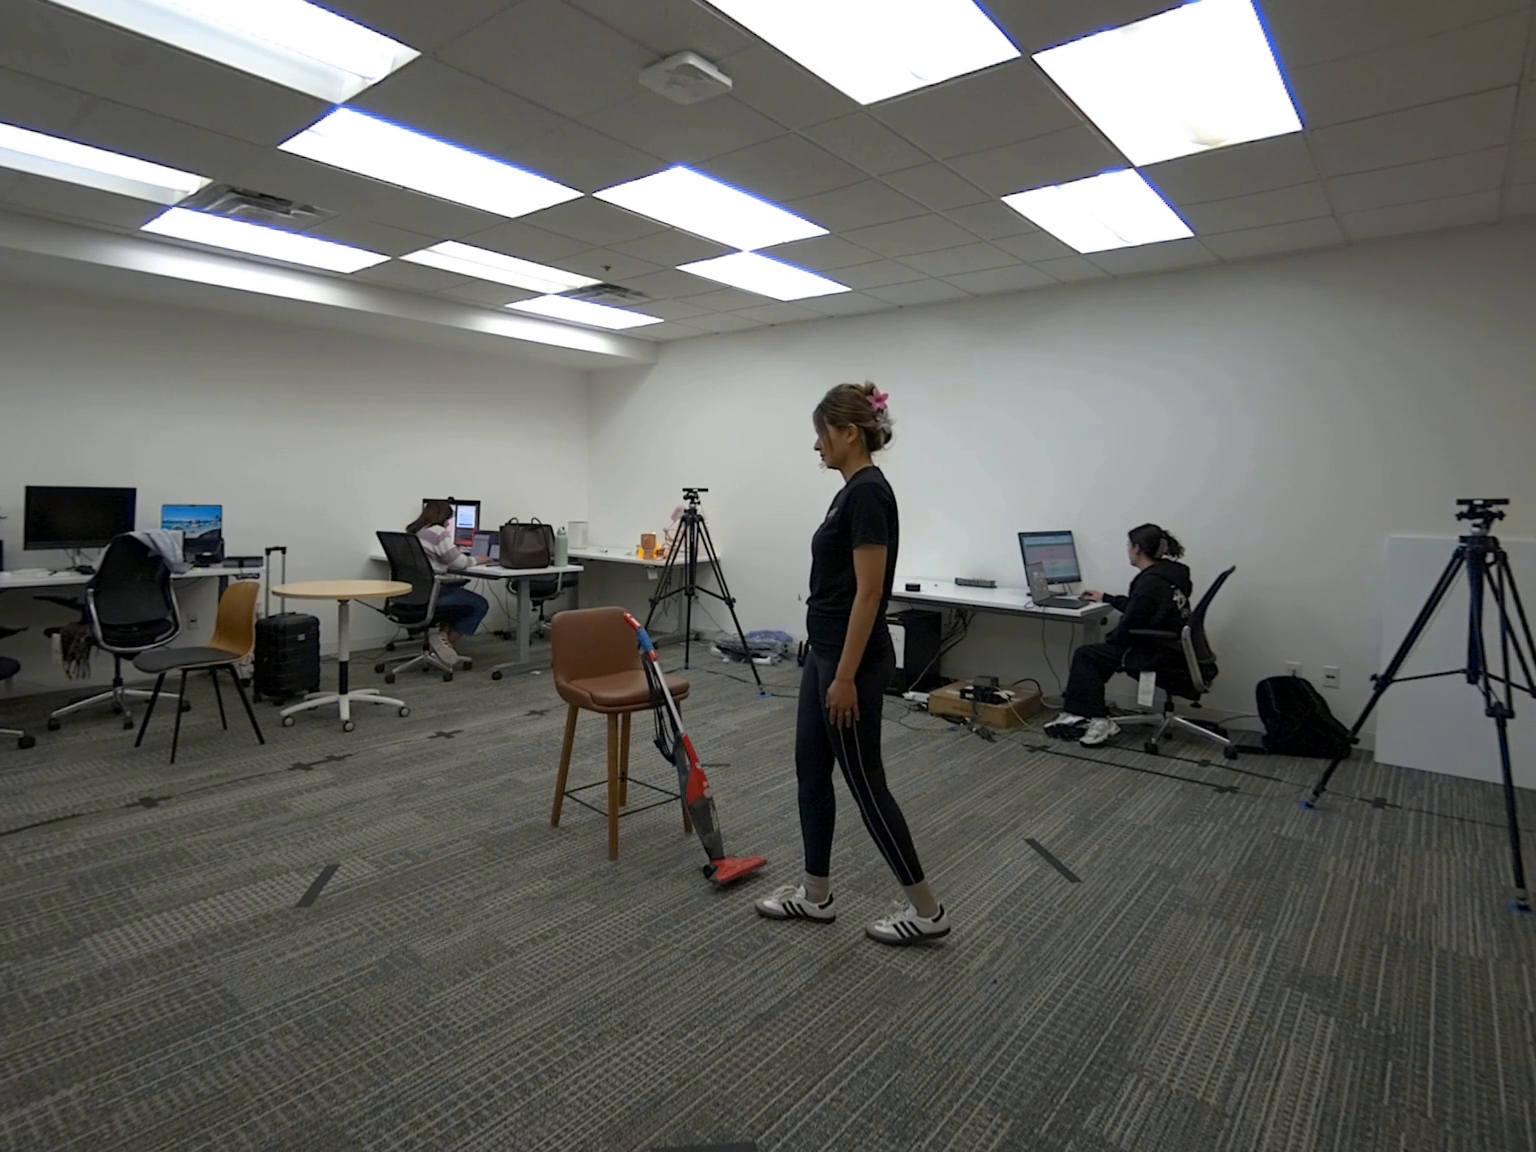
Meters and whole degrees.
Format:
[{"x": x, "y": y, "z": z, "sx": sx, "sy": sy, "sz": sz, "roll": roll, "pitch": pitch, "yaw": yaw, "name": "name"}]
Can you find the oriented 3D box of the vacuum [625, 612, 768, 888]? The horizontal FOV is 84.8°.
[{"x": -0.354, "y": 0.612, "z": 3.219, "sx": 0.145, "sy": 1.077, "sz": 0.244, "roll": -40, "pitch": -24, "yaw": 32, "name": "vacuum"}]
